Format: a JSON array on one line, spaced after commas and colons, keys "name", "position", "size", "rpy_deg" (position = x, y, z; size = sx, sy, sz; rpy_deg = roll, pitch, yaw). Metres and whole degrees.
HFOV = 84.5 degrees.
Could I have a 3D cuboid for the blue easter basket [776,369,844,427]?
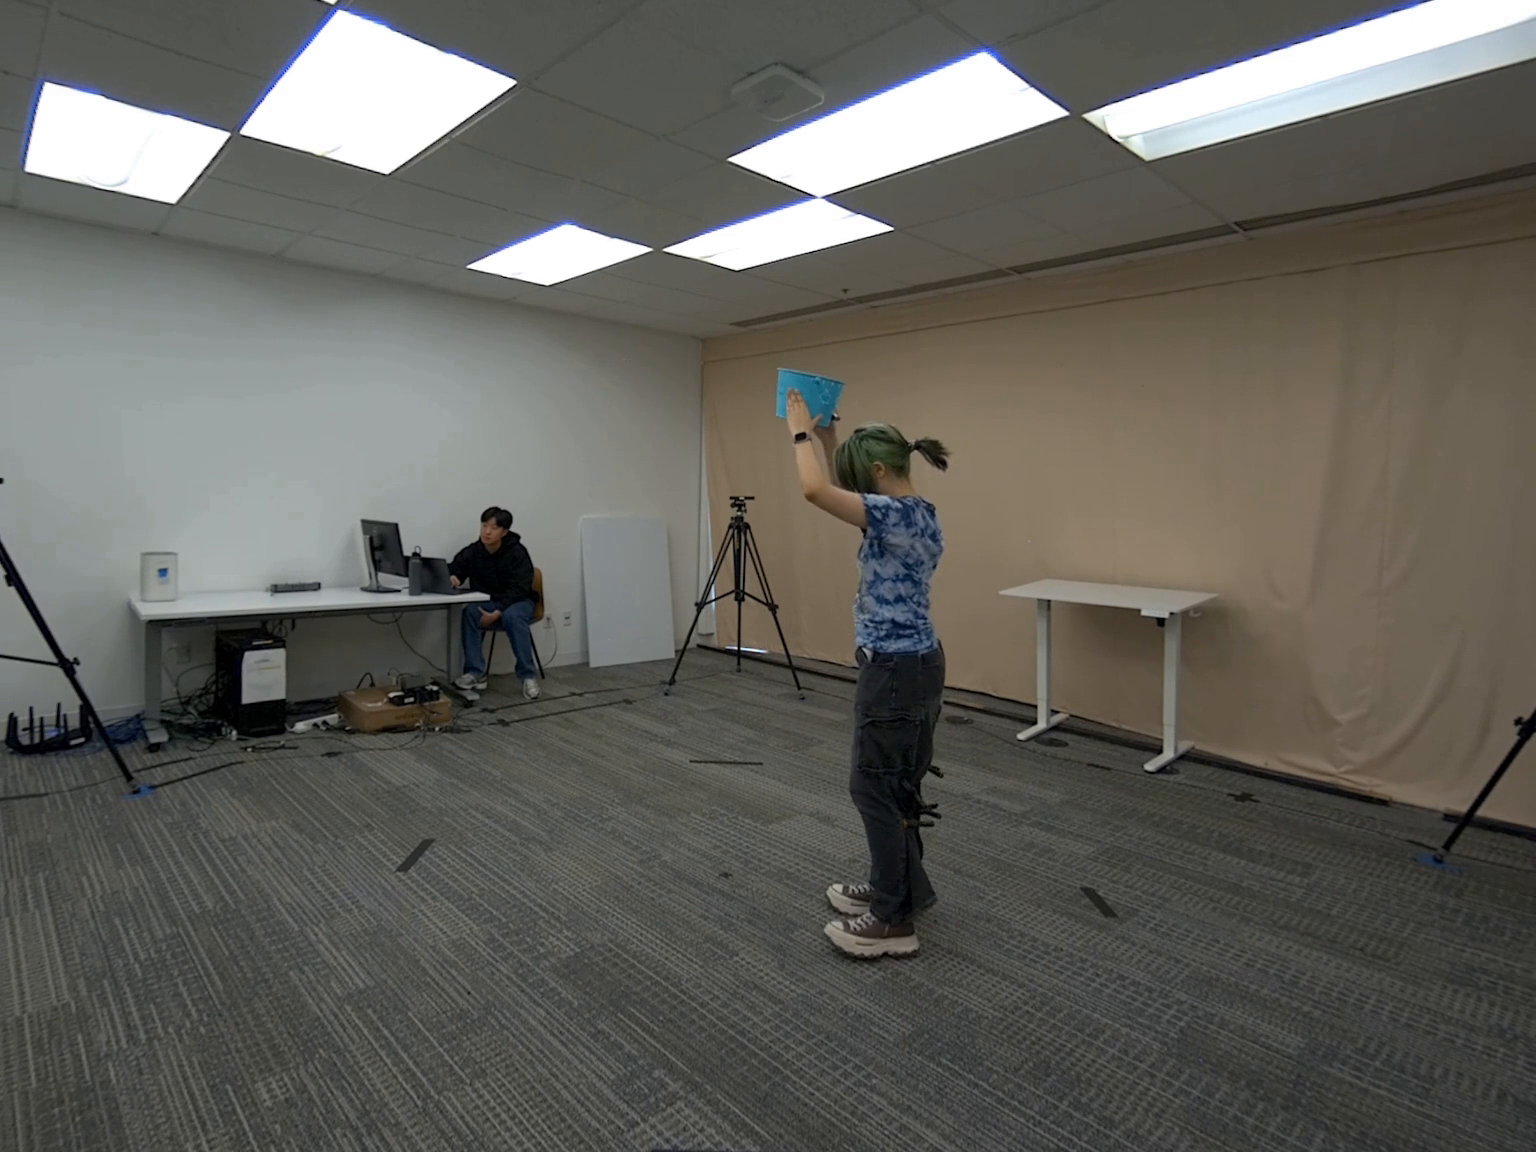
[{"name": "blue easter basket", "position": [0.133, -0.579, 2.770], "size": [0.243, 0.155, 0.246], "rpy_deg": [12, 11, -4]}]
